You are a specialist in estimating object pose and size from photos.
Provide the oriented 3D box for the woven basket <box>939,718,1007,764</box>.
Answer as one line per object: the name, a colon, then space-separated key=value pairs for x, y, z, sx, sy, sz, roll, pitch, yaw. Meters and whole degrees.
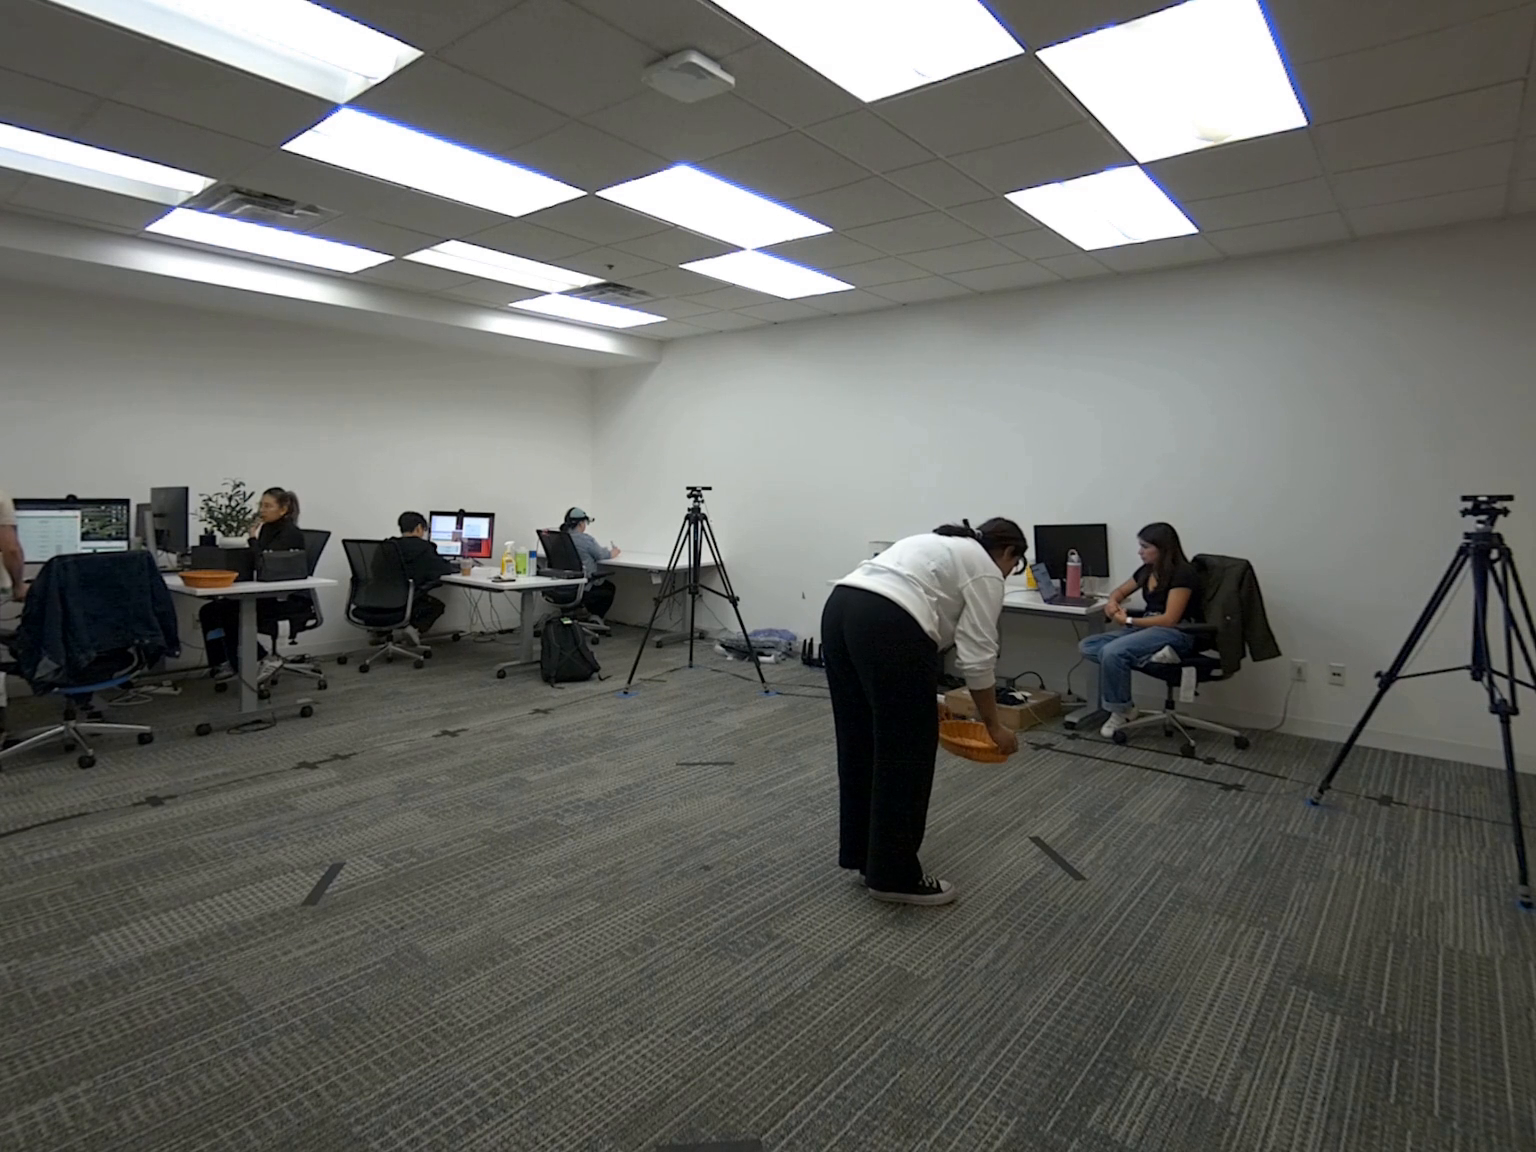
woven basket: x=0.754 y=0.612 z=3.121 sx=0.247 sy=0.073 sz=0.360 roll=-3 pitch=7 yaw=-23
